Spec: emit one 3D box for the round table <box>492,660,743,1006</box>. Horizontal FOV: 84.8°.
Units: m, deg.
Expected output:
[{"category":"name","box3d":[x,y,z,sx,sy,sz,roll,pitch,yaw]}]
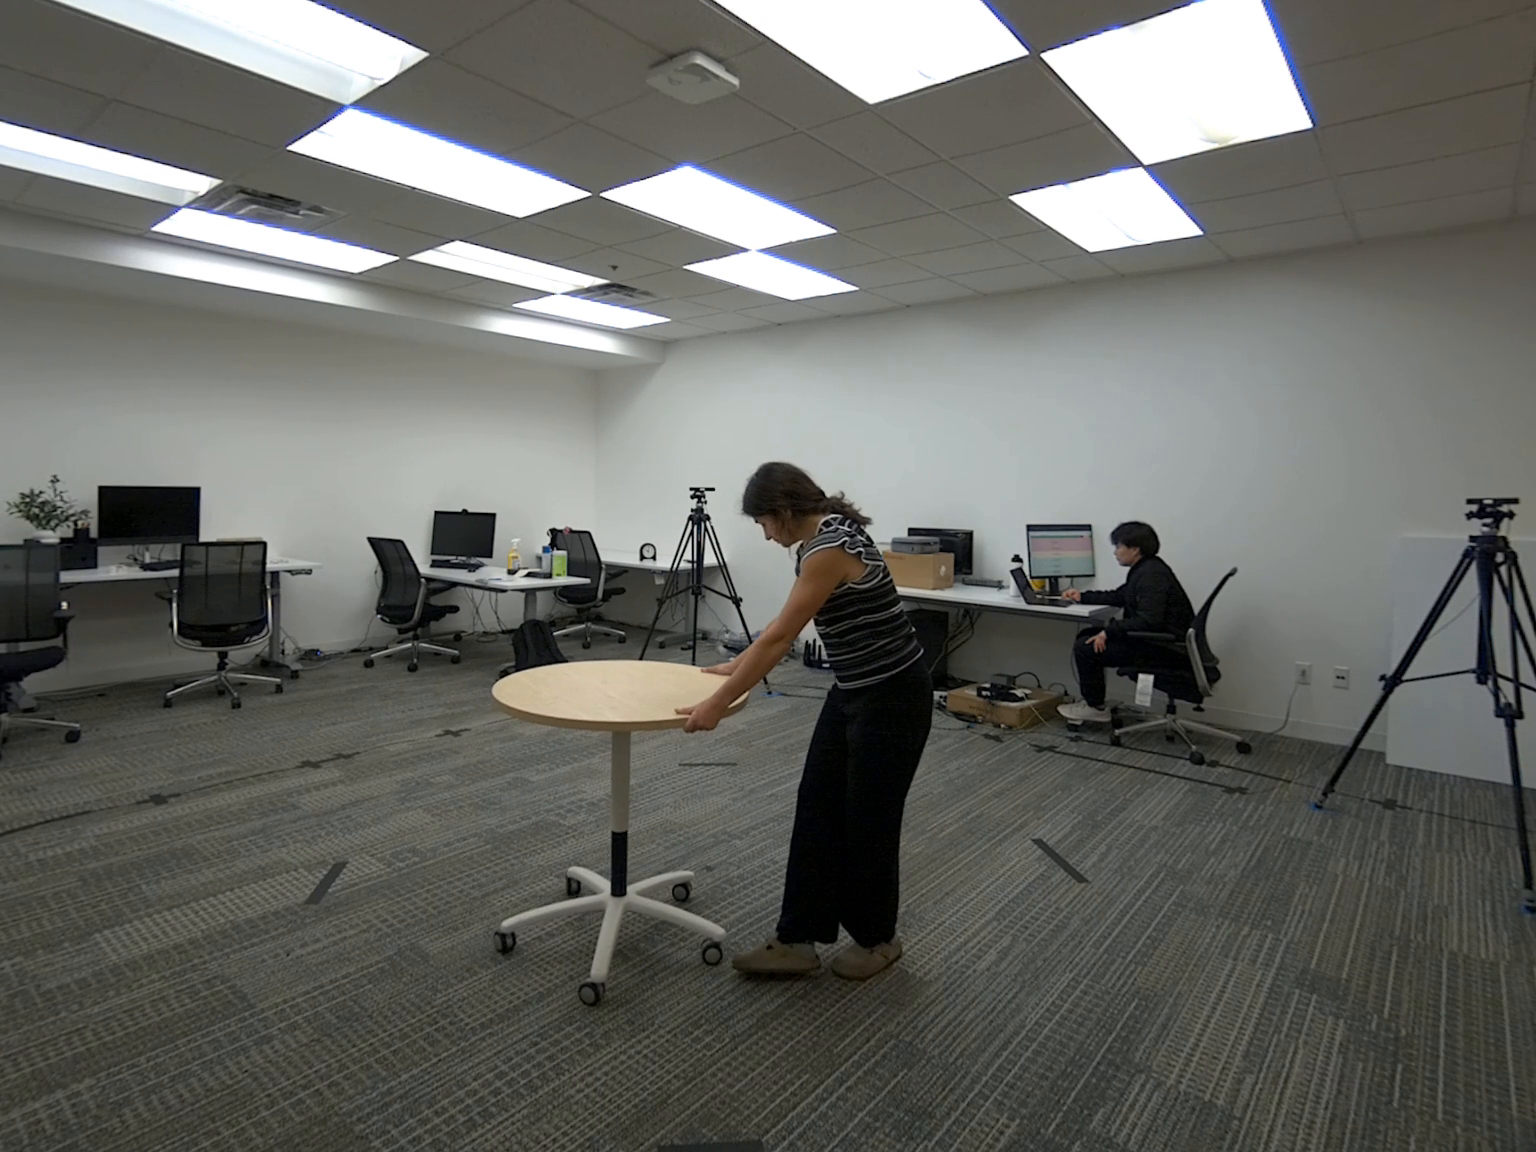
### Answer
[{"category":"round table","box3d":[-0.468,0.725,2.602,0.763,0.791,0.768,1,4,-2]}]
